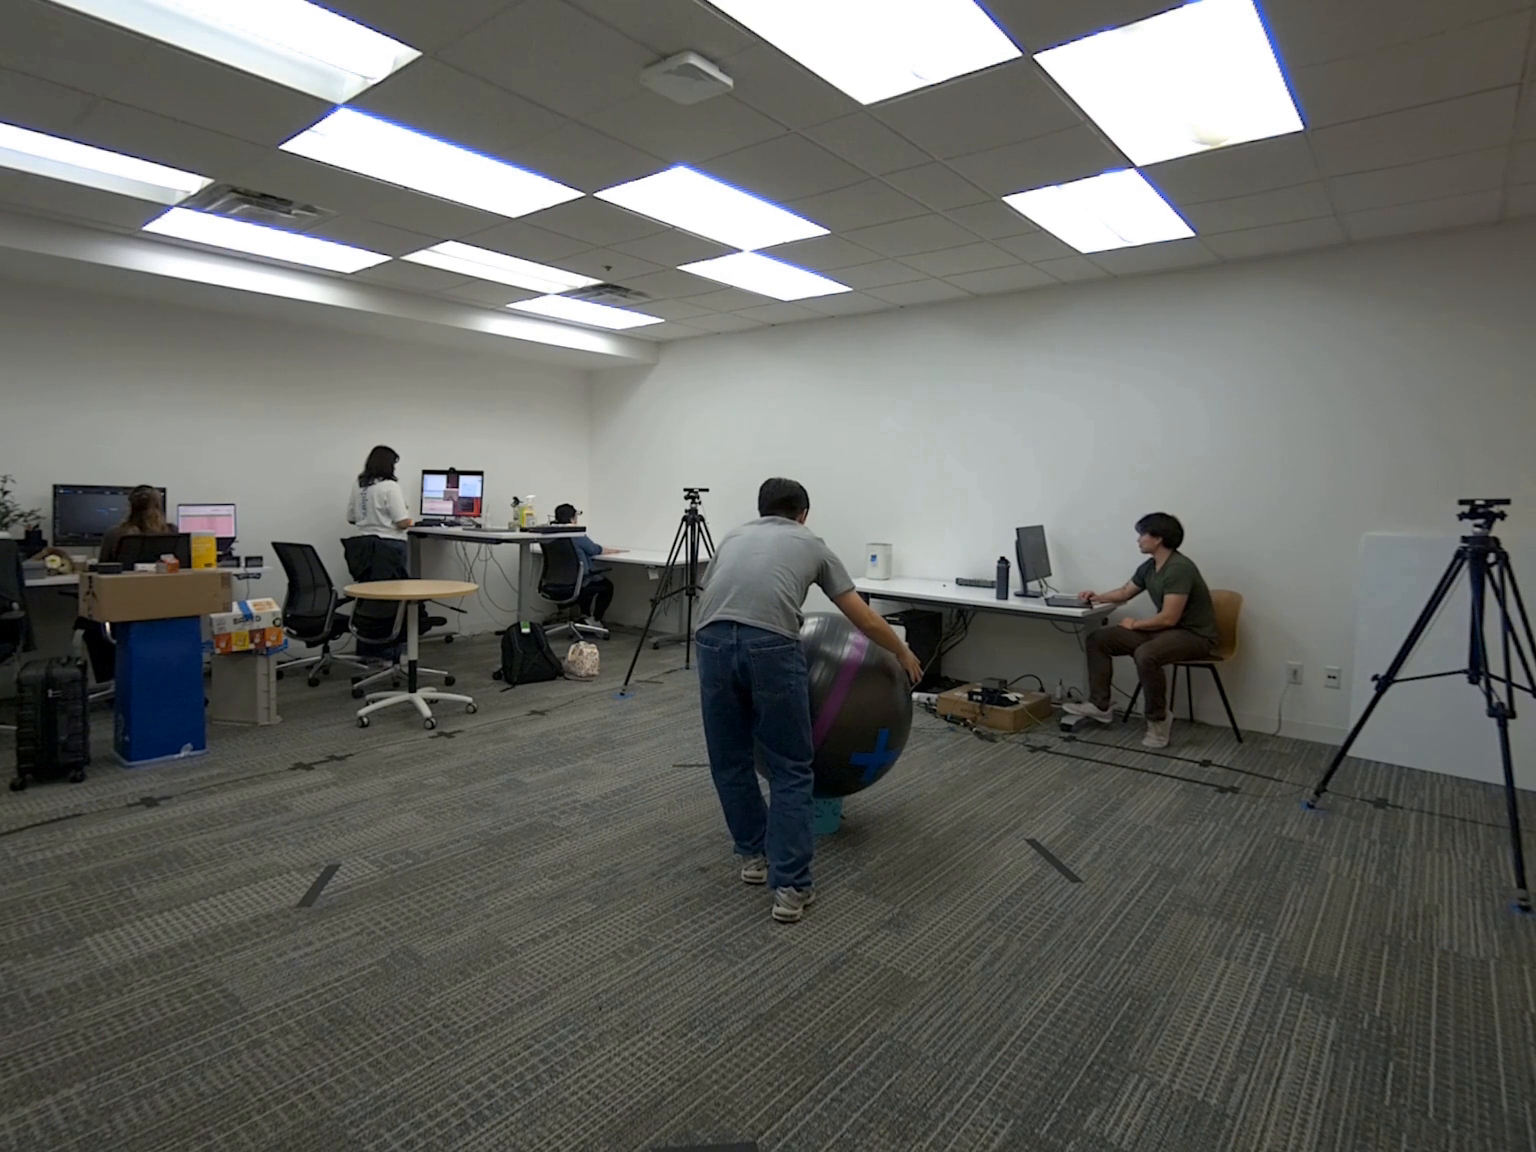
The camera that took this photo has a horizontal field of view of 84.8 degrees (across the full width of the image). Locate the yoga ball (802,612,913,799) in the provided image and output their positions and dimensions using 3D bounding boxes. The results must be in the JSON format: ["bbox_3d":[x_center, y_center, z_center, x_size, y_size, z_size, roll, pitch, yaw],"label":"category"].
[{"bbox_3d":[0.210,0.531,3.526,0.757,0.755,0.762,1,4,-2],"label":"yoga ball"}]
